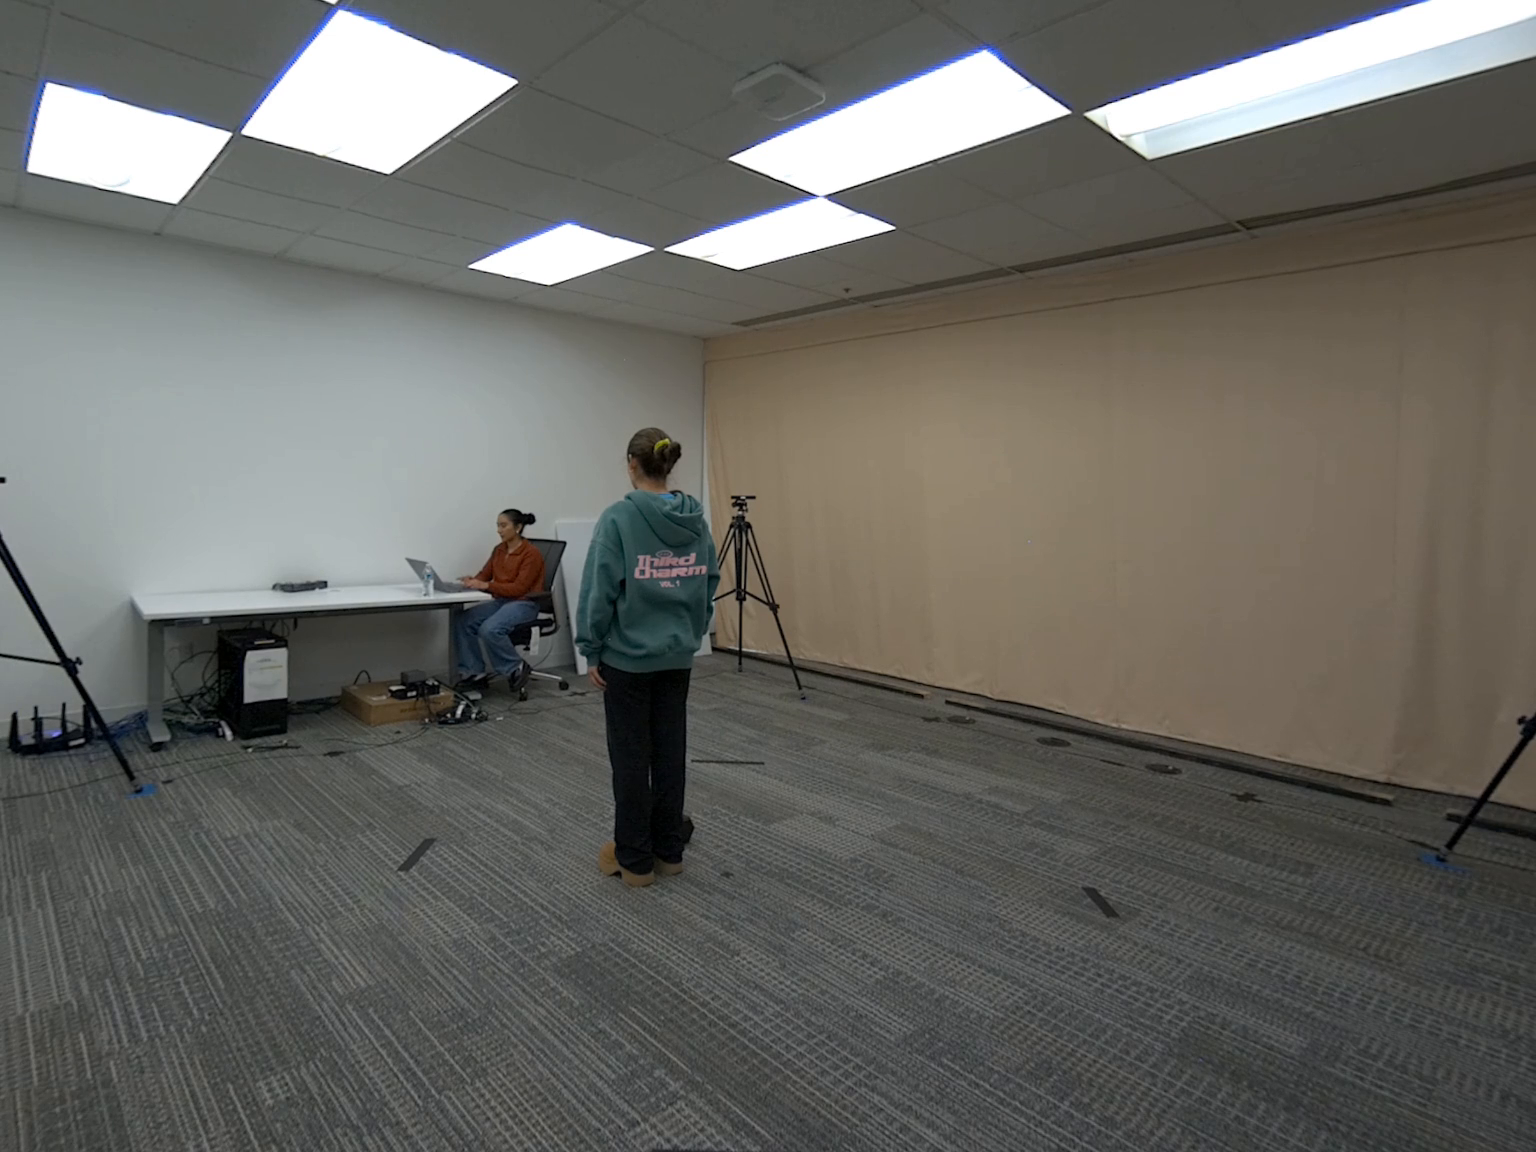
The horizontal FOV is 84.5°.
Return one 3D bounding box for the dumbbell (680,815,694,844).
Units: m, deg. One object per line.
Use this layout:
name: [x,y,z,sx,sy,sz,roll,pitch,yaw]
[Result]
dumbbell: [-0.440,1.014,3.464,0.301,0.123,0.105,7,-25,46]
